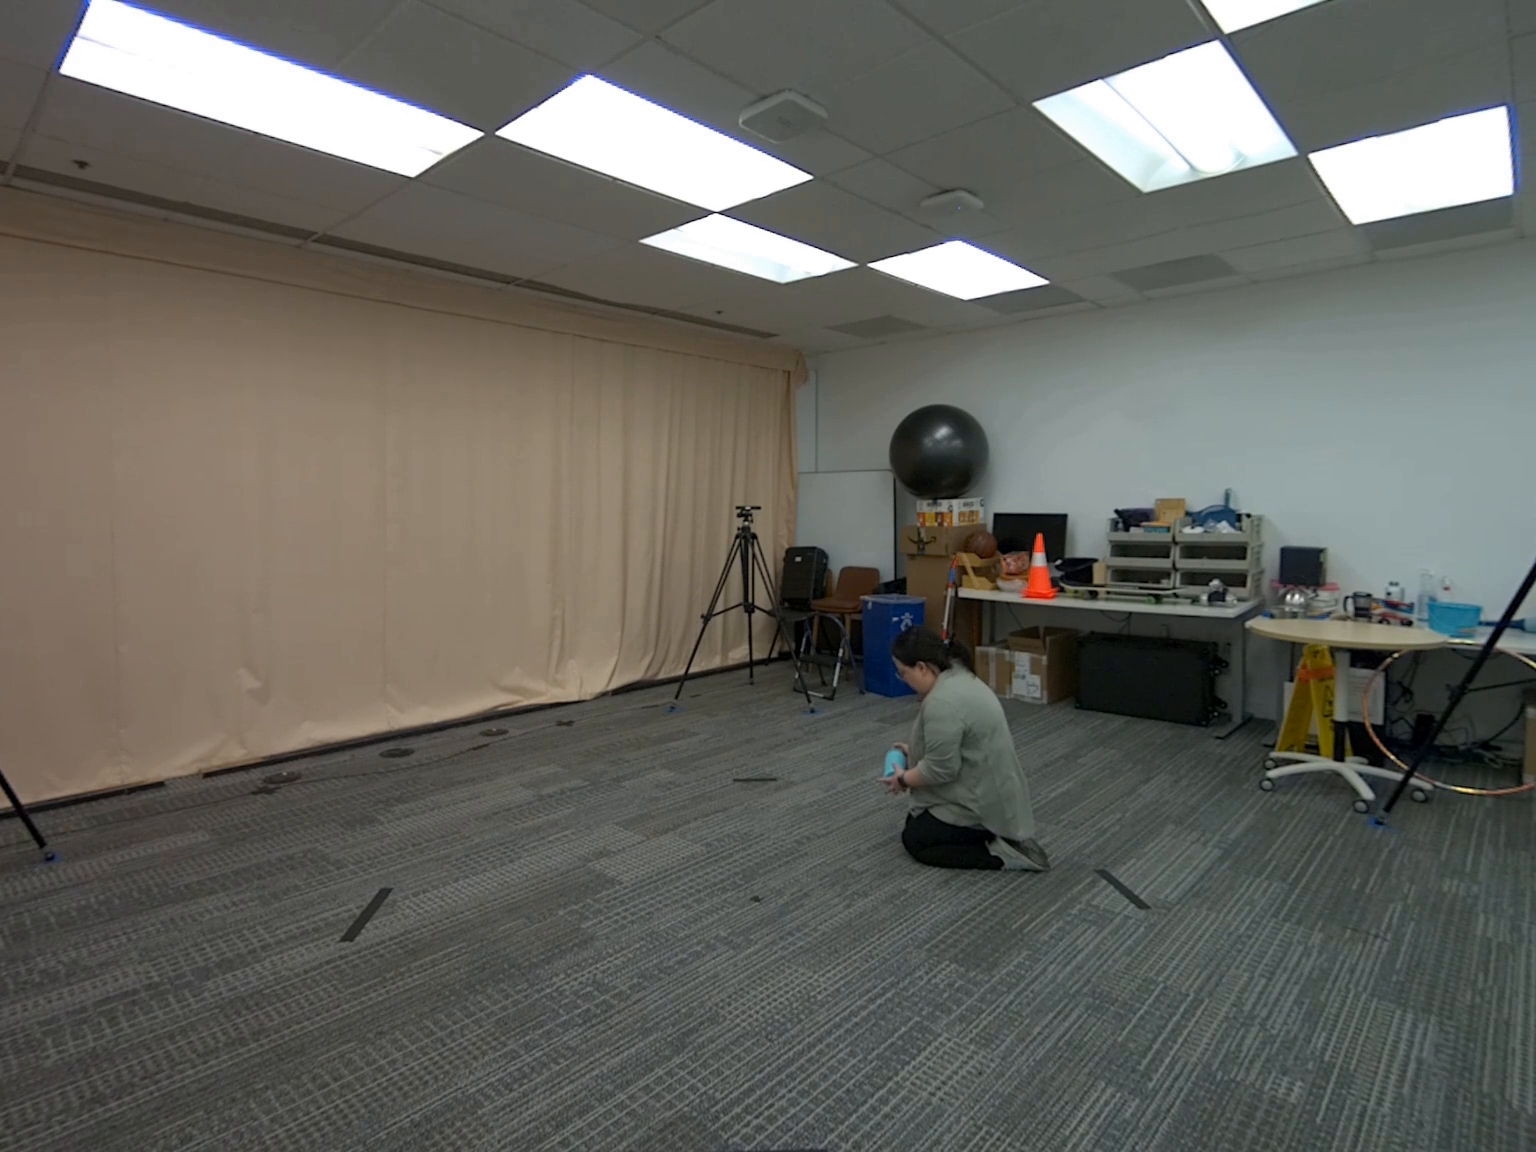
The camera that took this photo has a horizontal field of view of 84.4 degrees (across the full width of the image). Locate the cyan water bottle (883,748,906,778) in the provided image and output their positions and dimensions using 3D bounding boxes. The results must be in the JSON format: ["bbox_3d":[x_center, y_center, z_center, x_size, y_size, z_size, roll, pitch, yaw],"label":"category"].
[{"bbox_3d":[0.533,0.803,3.514,0.093,0.092,0.282,0,10,8],"label":"cyan water bottle"}]
